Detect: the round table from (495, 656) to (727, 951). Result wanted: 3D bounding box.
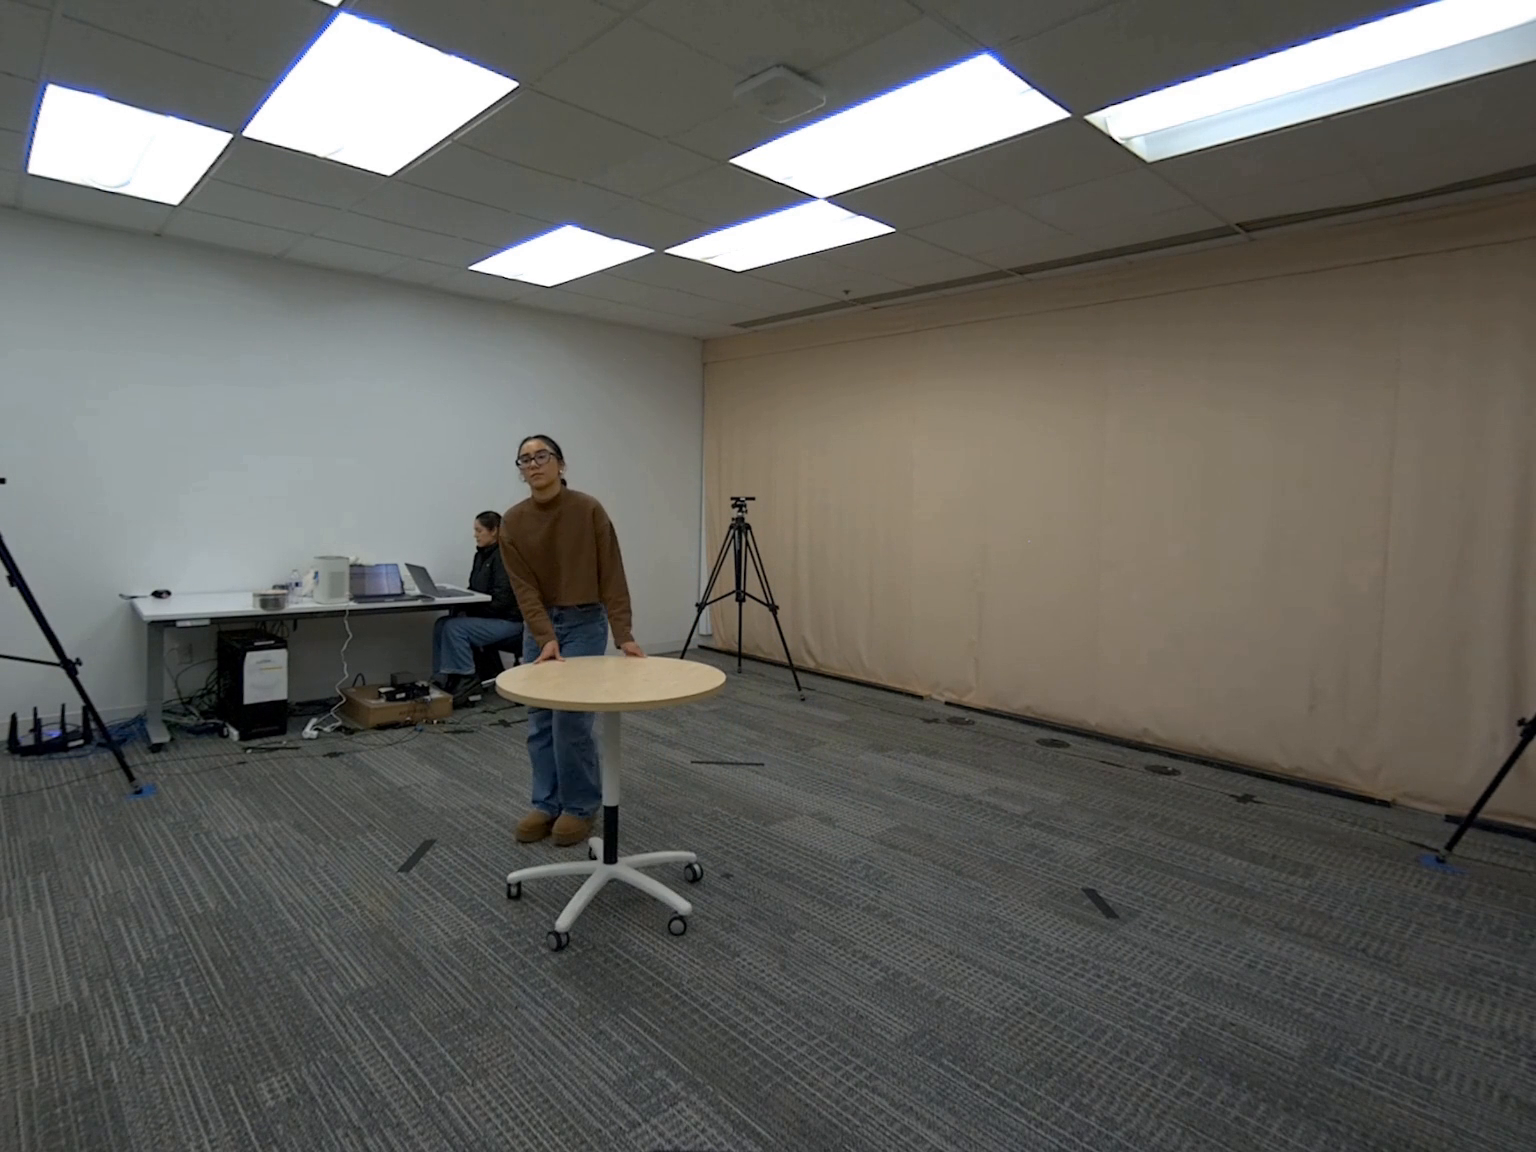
[{"bbox_3d":[-0.551,0.727,2.868,0.784,0.784,0.787,1,4,-1],"label":"round table"}]
